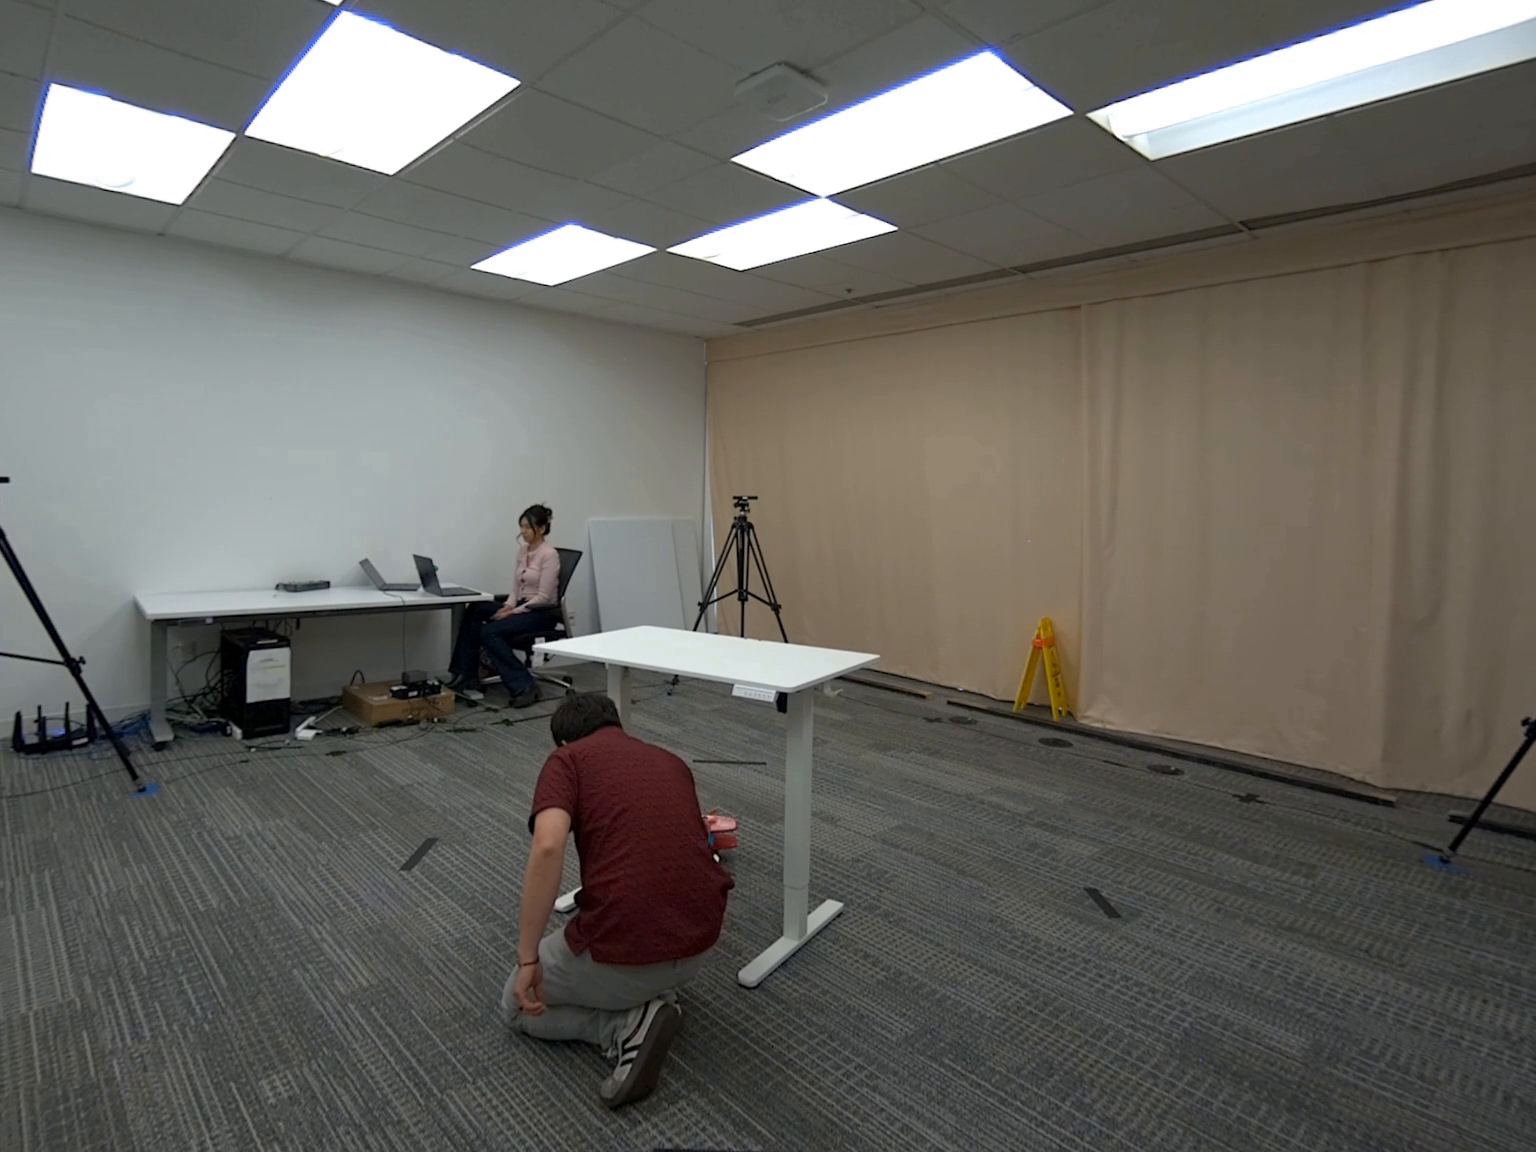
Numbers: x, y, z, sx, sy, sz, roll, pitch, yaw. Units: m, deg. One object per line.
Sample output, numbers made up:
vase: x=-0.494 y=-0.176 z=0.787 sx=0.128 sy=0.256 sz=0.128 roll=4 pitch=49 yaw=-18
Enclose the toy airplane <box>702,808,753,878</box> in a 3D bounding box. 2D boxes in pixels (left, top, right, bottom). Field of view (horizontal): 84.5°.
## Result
toy airplane: x=-0.234 y=1.019 z=3.202 sx=0.246 sy=0.156 sz=0.265 roll=-2 pitch=5 yaw=-27
